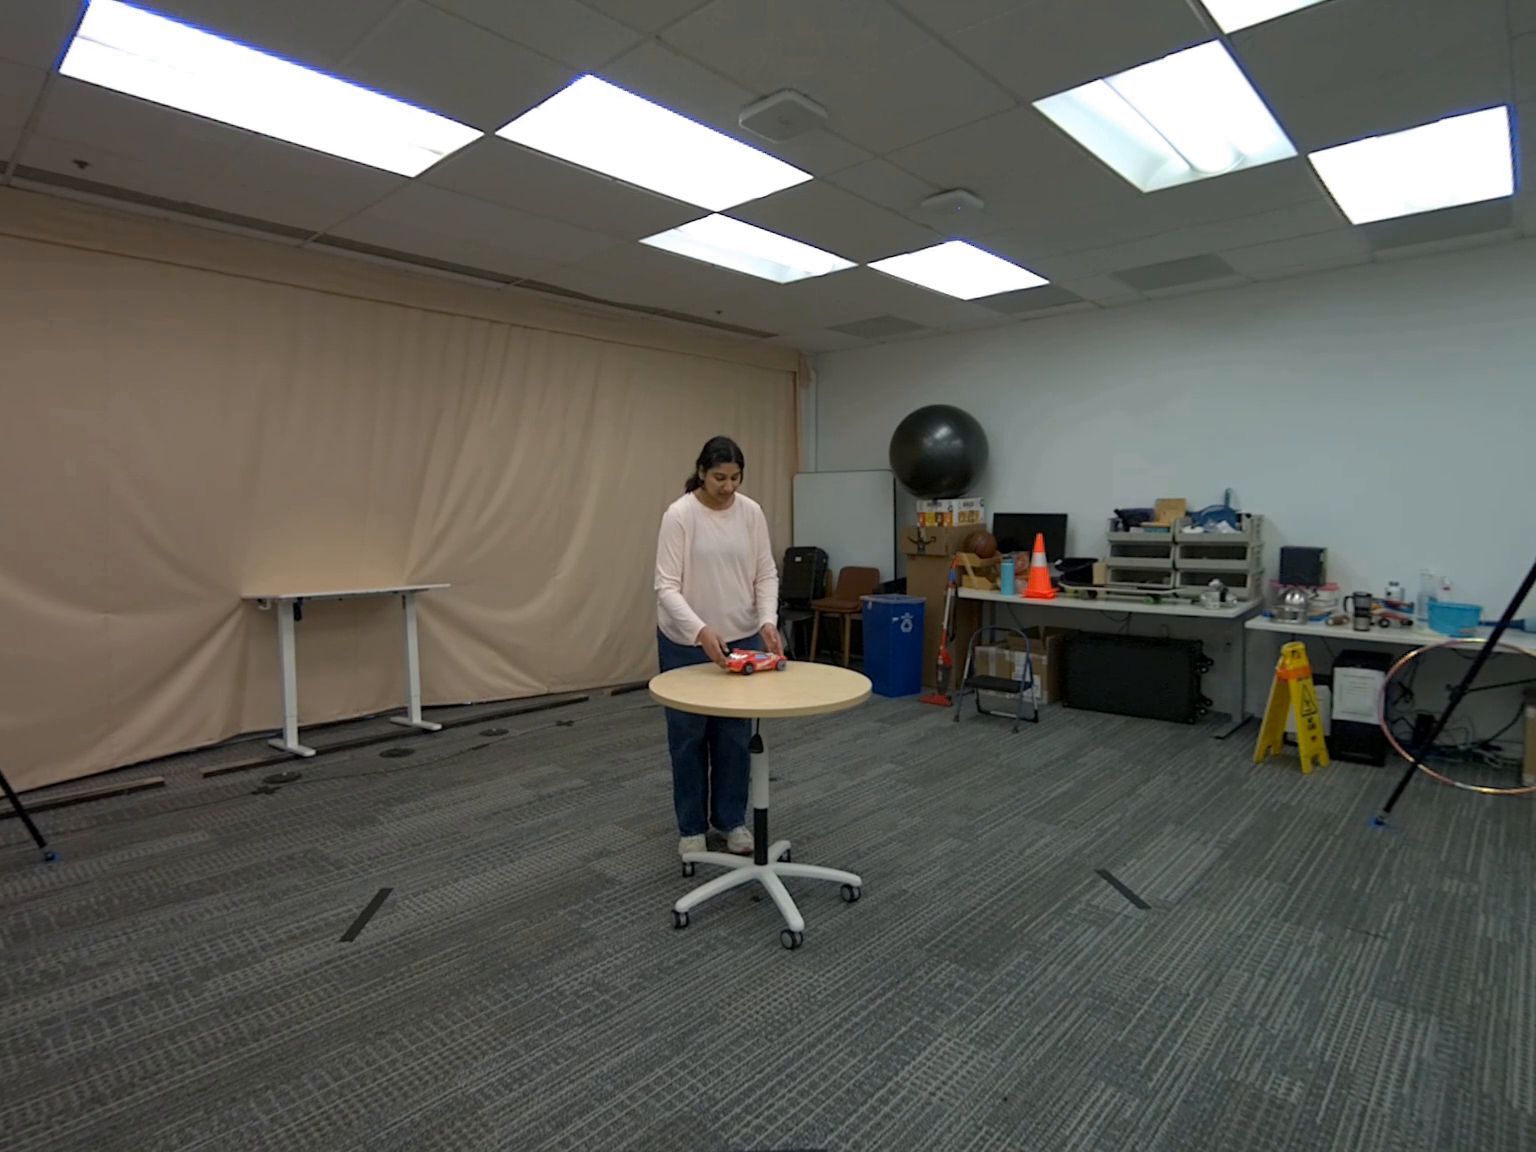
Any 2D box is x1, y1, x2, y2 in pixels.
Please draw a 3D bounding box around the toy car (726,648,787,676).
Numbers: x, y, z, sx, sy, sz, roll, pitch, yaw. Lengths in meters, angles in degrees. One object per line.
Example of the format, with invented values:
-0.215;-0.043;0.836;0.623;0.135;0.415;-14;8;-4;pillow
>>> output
-0.064;0.317;3.092;0.247;0.083;0.134;10;-1;-31;toy car
